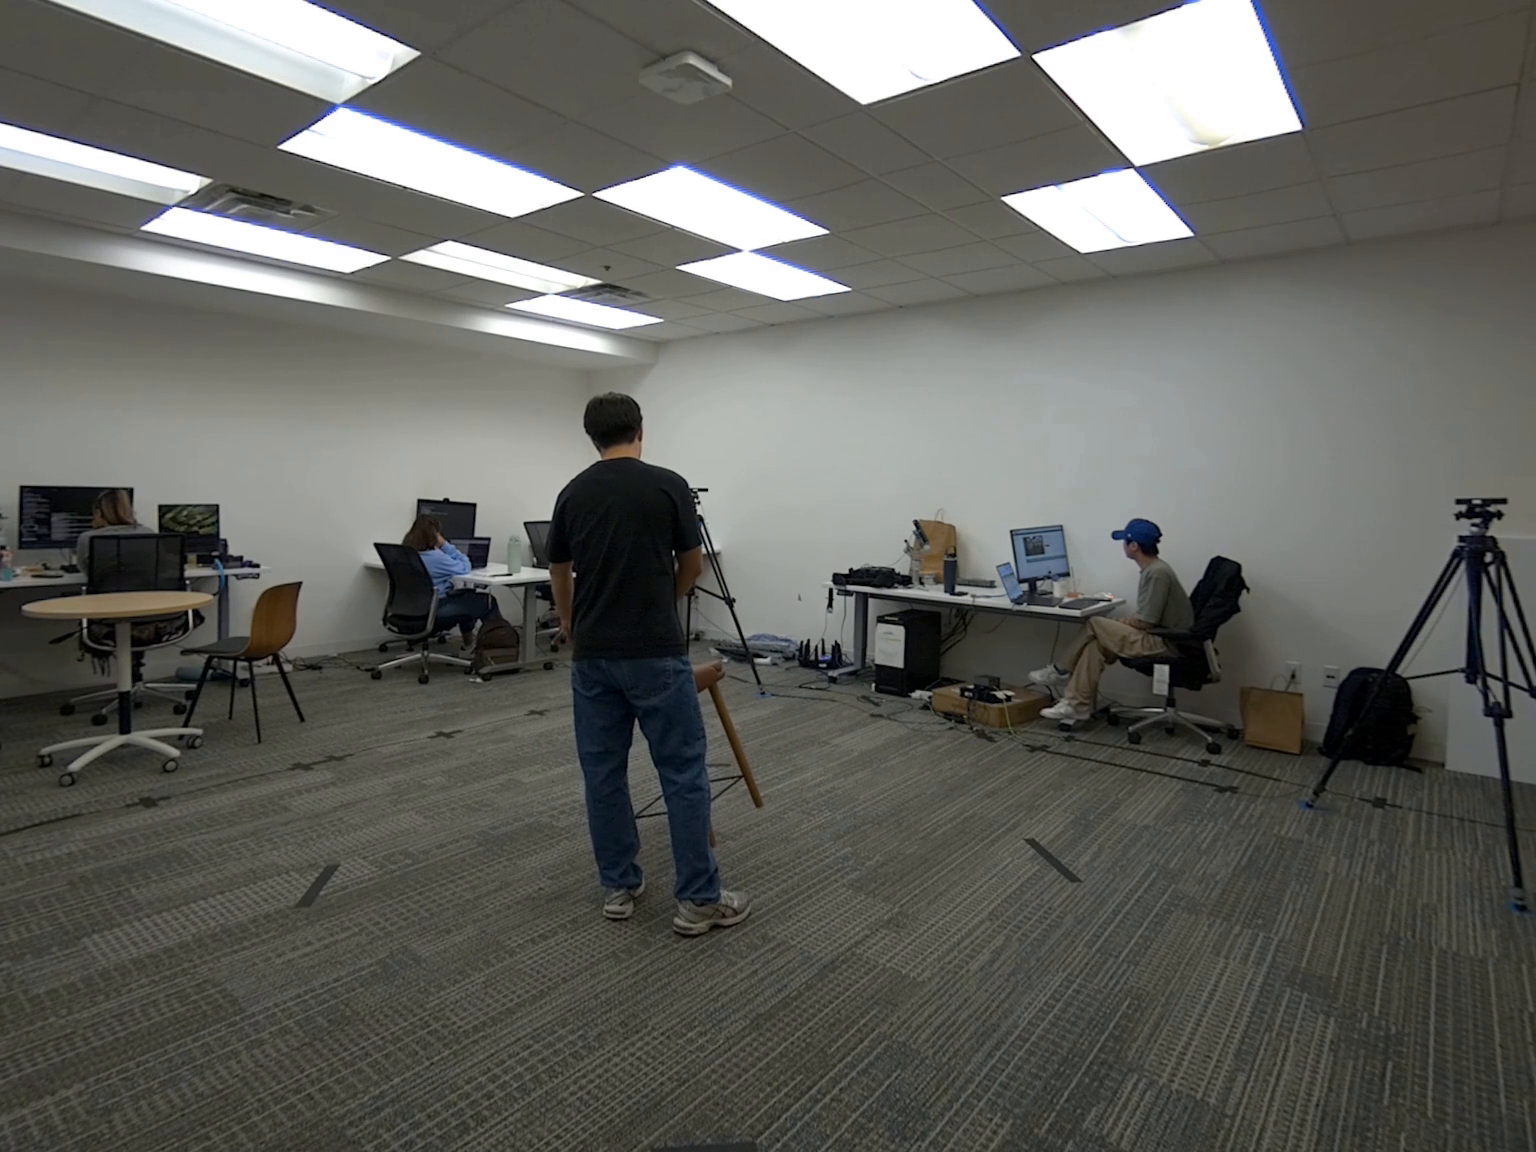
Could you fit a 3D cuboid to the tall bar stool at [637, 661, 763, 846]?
[{"bbox_3d":[-0.407,0.569,3.325,0.464,0.892,0.458,-17,-2,25],"label":"tall bar stool"}]
